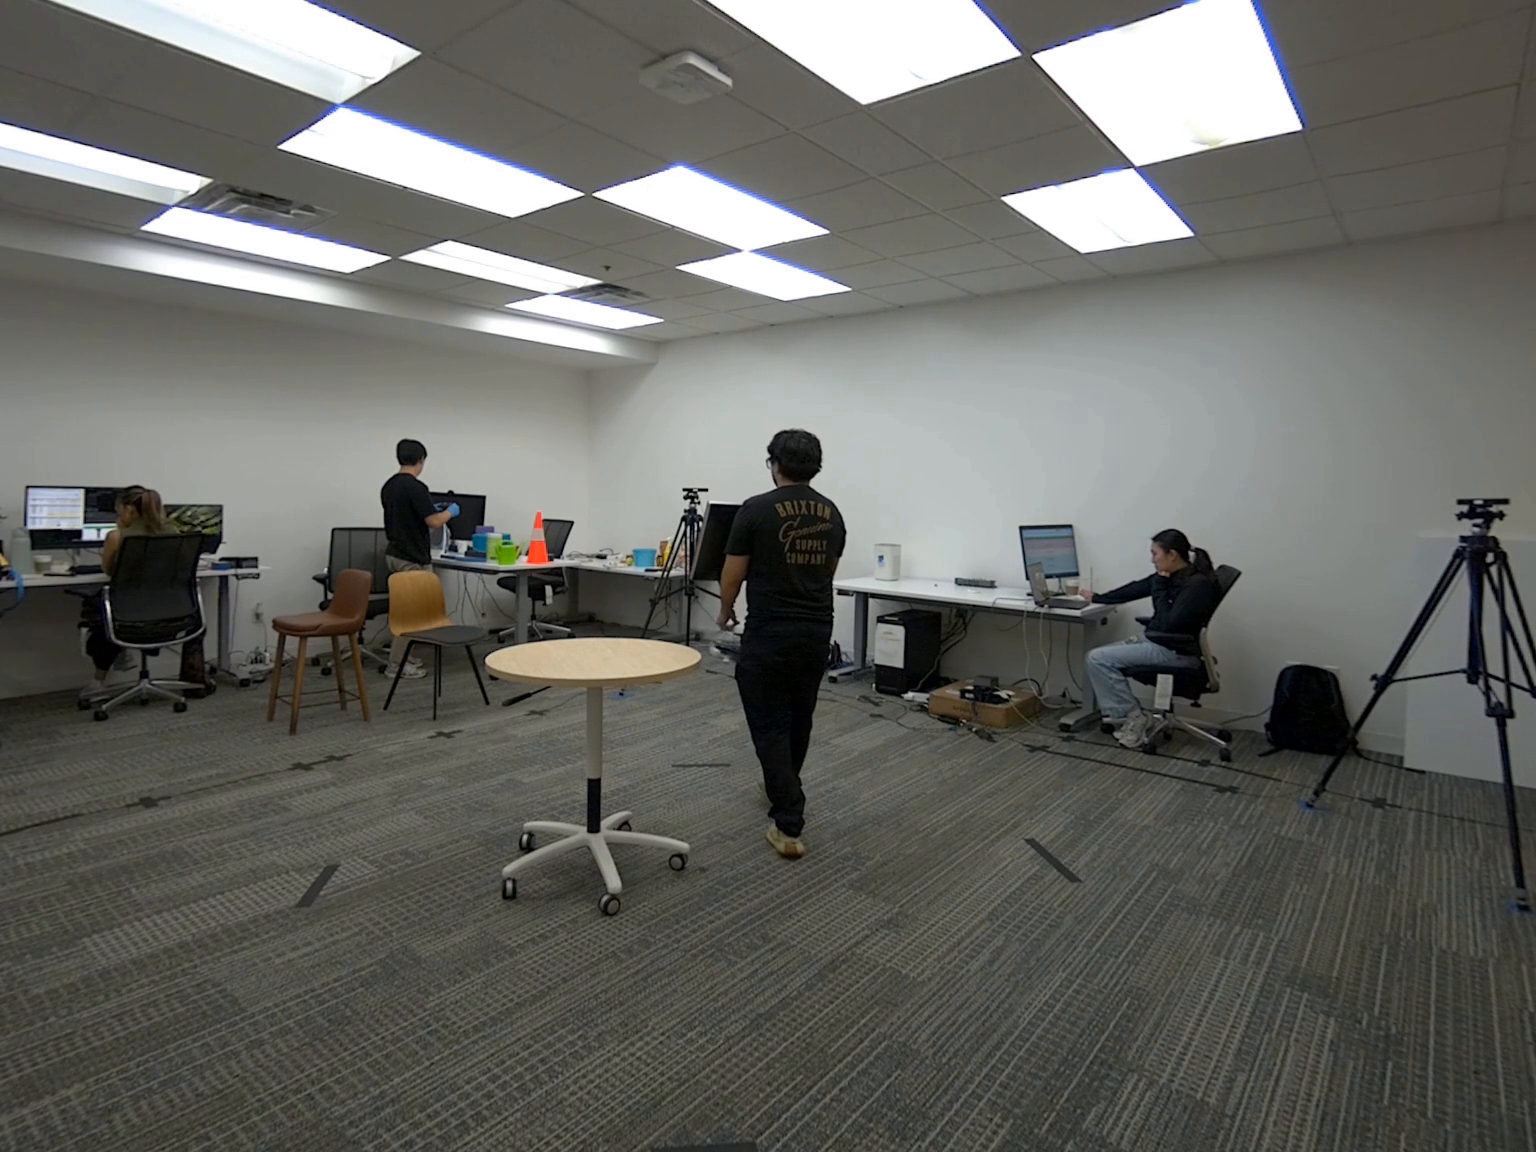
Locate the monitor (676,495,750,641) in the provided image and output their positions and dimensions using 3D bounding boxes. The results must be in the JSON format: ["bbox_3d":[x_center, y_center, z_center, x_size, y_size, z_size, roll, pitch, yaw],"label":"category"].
[{"bbox_3d":[-0.043,-0.031,3.551,0.551,0.546,0.218,2,23,-27],"label":"monitor"}]
